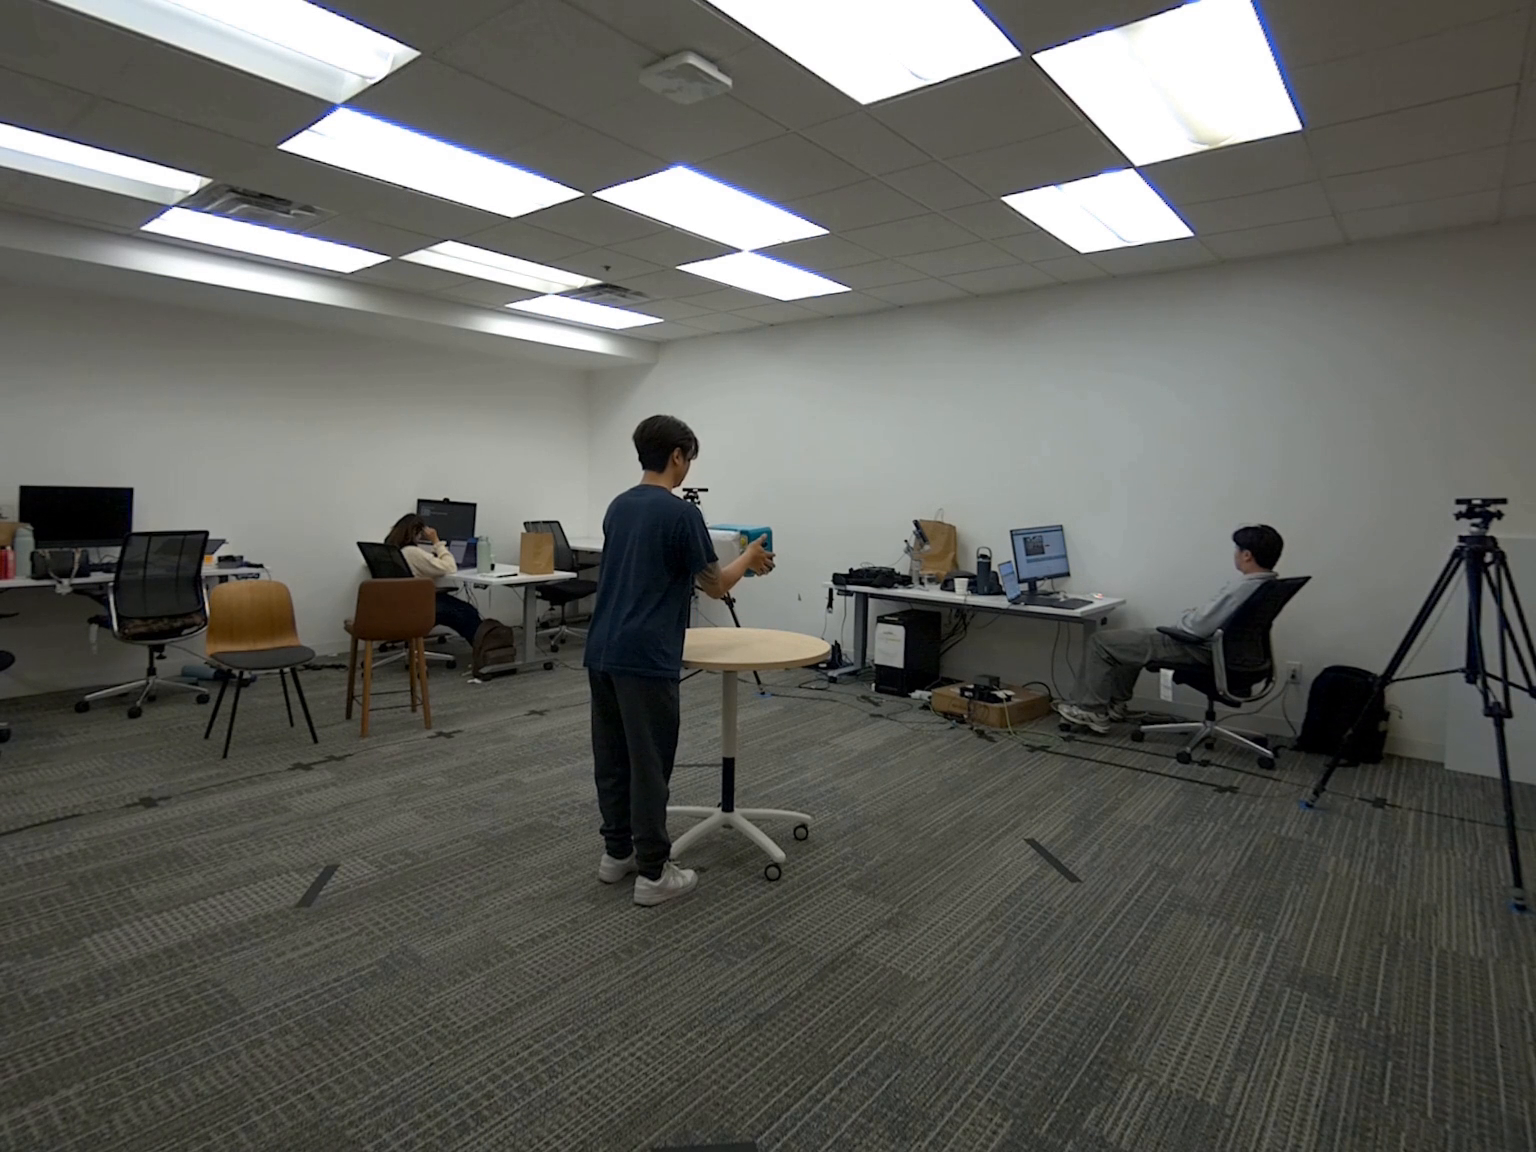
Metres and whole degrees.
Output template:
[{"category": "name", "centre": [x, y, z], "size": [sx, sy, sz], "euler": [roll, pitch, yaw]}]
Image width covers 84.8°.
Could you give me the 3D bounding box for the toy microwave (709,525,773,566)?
[{"category": "toy microwave", "centre": [-0.142, -0.100, 3.286], "size": [0.296, 0.183, 0.148], "euler": [5, 8, 44]}]
